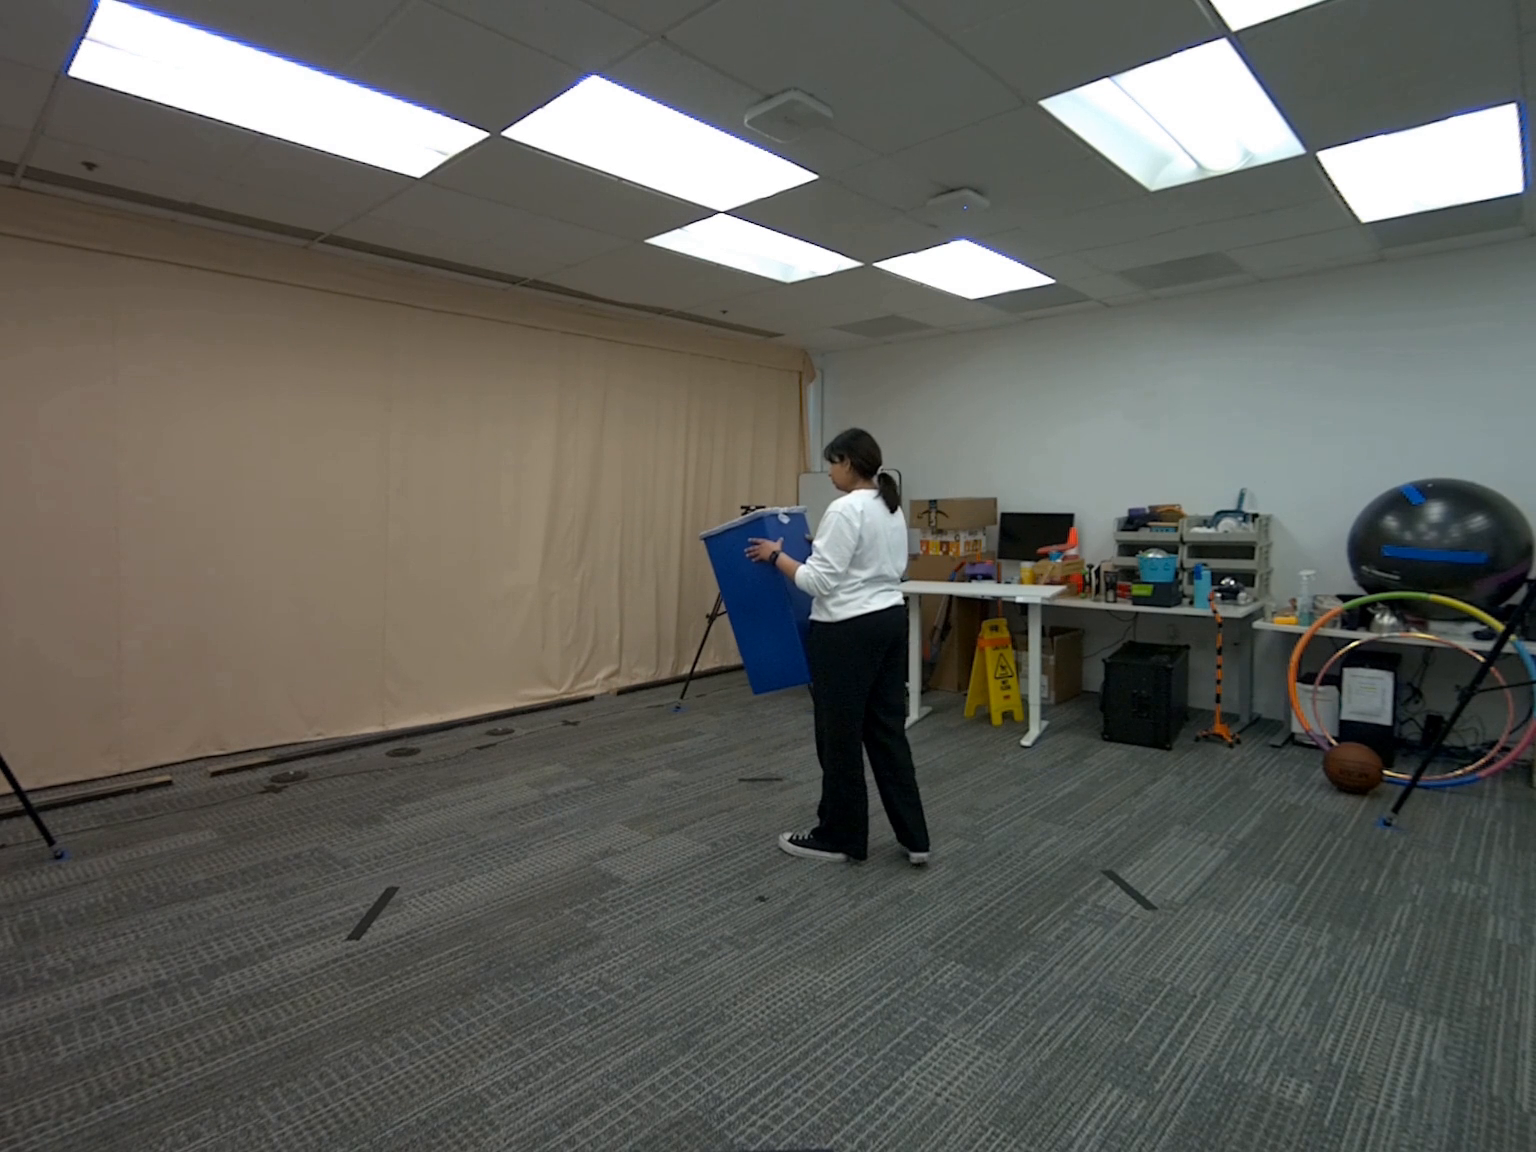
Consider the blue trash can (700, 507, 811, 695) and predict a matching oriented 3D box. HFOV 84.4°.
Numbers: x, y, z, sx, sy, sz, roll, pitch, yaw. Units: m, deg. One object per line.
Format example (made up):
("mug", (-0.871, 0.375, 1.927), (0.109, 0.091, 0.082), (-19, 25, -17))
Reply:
("blue trash can", (0.029, 0.104, 3.584), (0.382, 0.717, 0.367), (-19, -7, 33))
